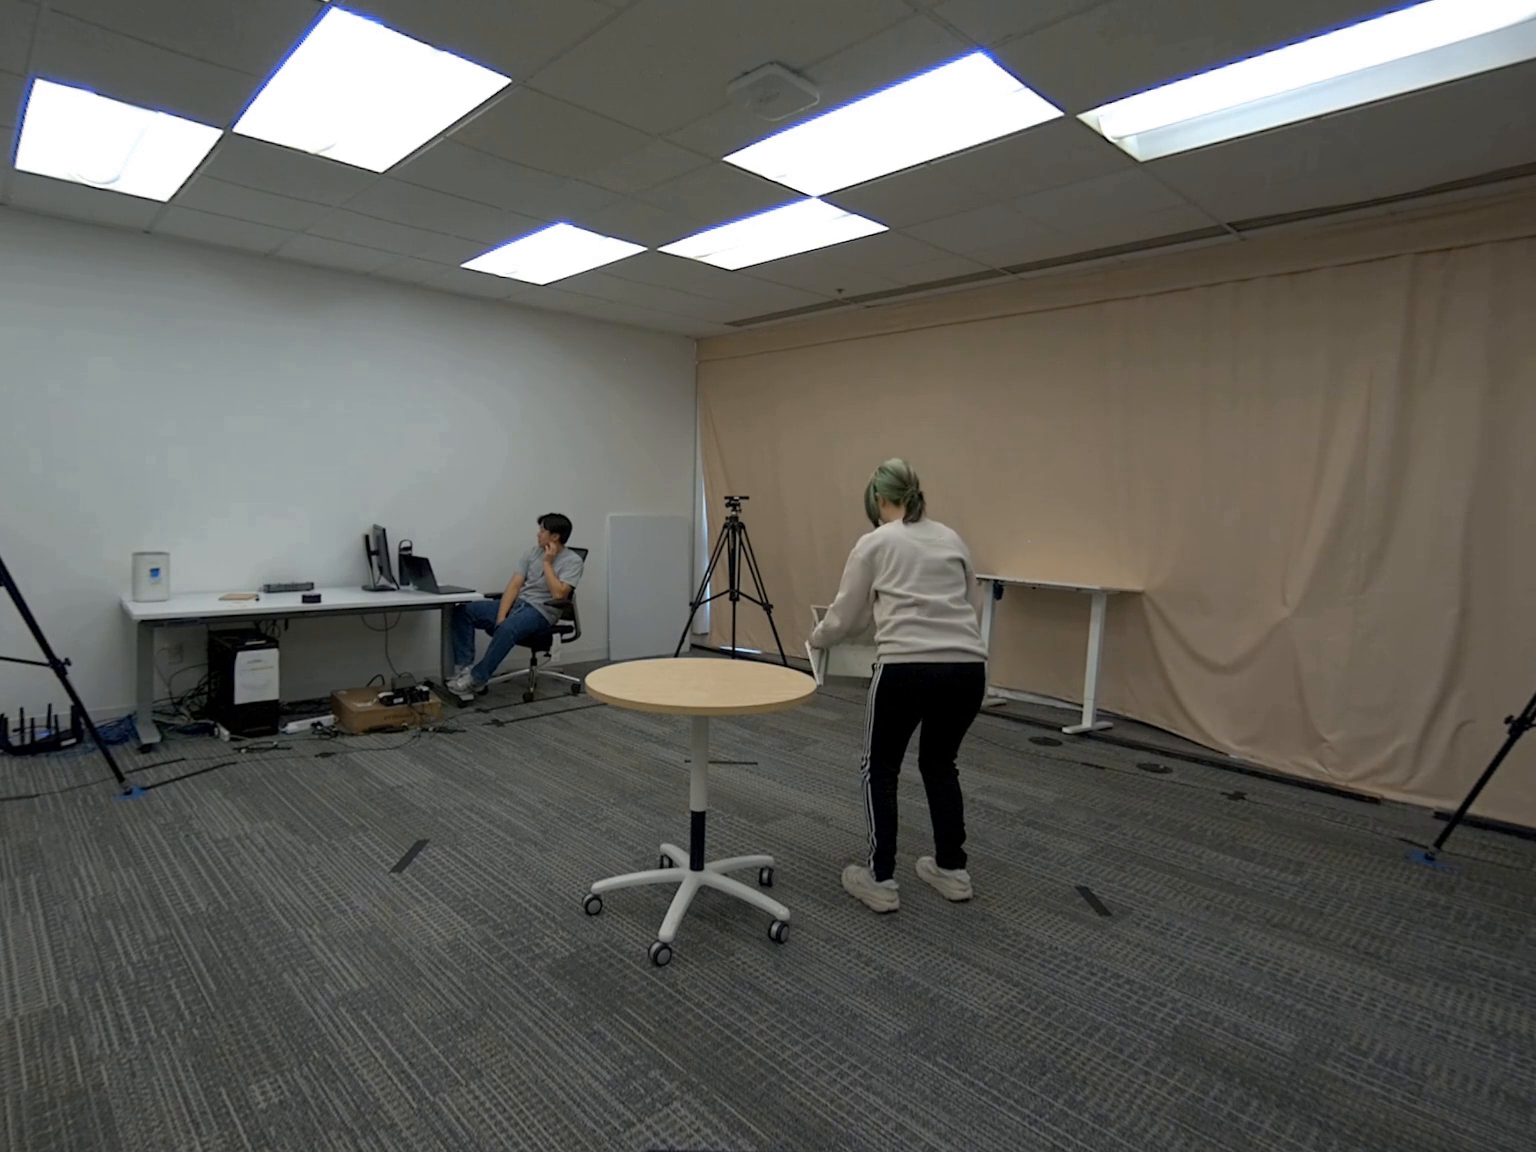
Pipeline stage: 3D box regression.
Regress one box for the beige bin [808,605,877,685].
[{"bbox_3d":[0.393,0.311,3.428,0.419,0.186,0.385,5,24,-8],"label":"beige bin"}]
